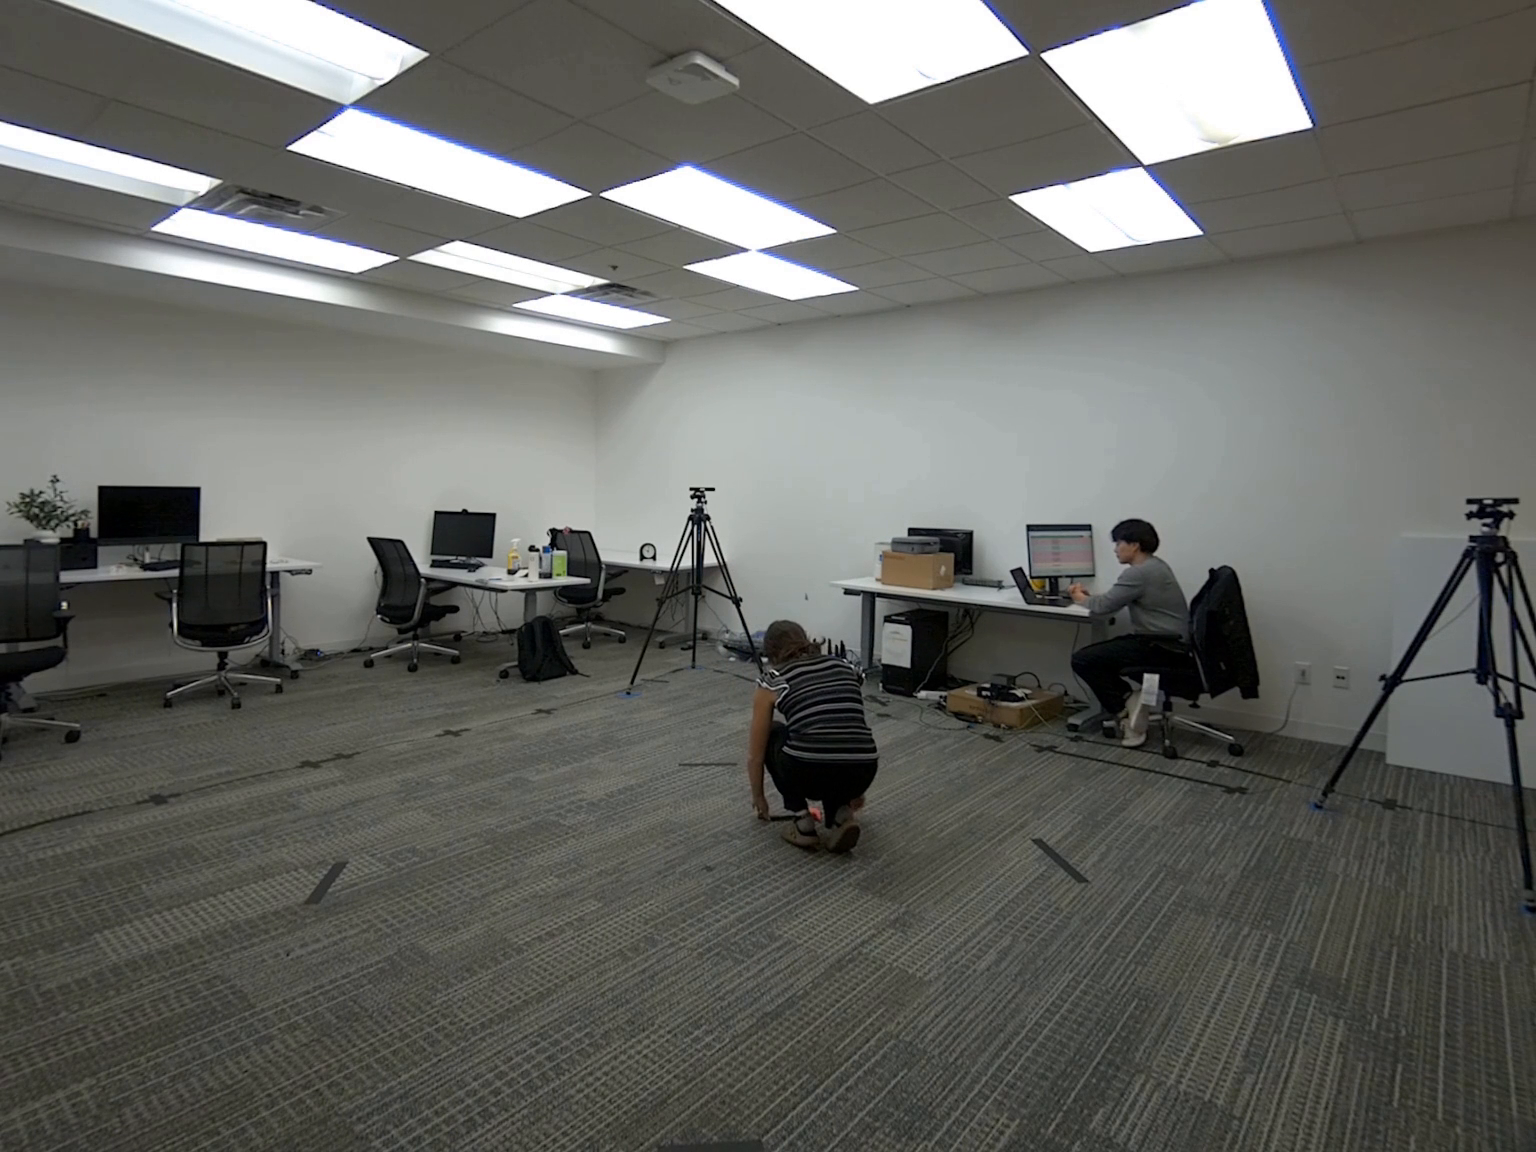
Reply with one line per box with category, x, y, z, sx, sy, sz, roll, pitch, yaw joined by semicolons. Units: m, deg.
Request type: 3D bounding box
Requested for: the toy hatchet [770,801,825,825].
toy hatchet;0.078;1.002;3.633;0.272;0.029;0.131;3;7;5
